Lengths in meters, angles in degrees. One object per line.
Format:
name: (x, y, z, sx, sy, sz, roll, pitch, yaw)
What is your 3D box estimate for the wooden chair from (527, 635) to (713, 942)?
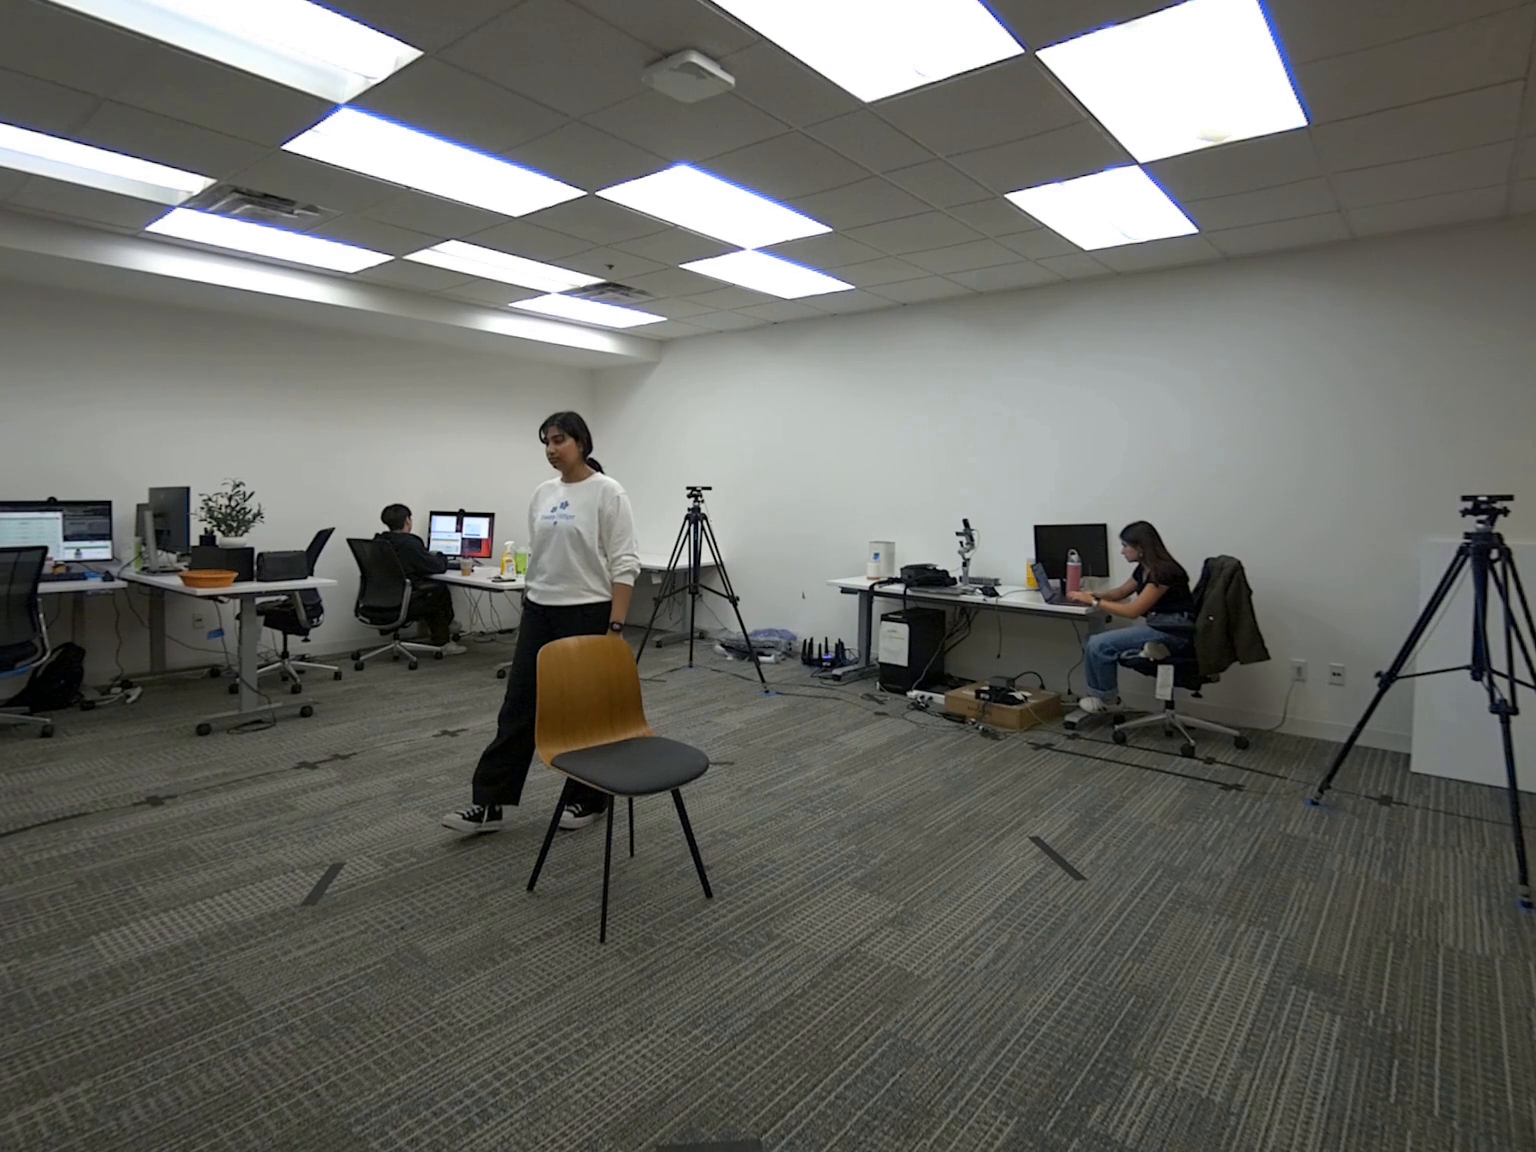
wooden chair: (-0.490, 0.659, 2.863, 0.463, 0.878, 0.539, -2, 0, -44)
